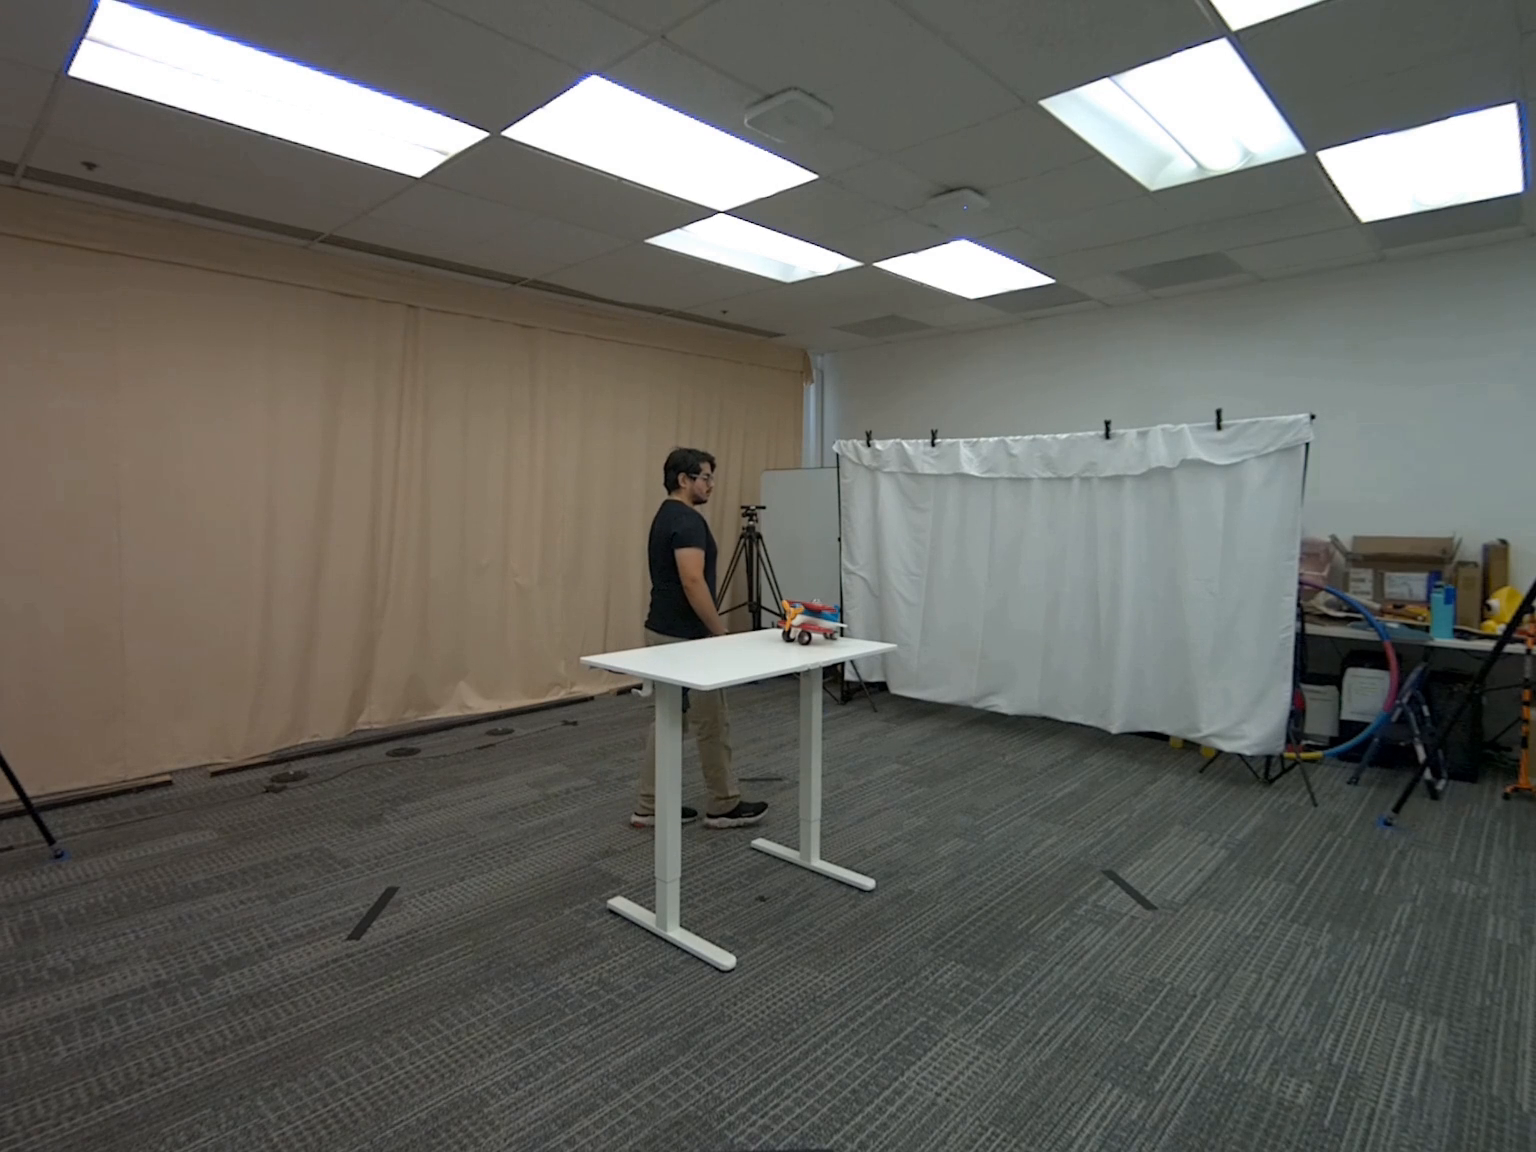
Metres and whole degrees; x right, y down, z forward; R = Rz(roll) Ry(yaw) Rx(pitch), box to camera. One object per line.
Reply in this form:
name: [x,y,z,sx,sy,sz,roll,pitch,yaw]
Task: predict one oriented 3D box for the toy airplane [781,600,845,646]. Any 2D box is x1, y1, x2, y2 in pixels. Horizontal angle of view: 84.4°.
toy airplane: [0.161,0.169,3.174,0.257,0.156,0.254,3,6,23]
